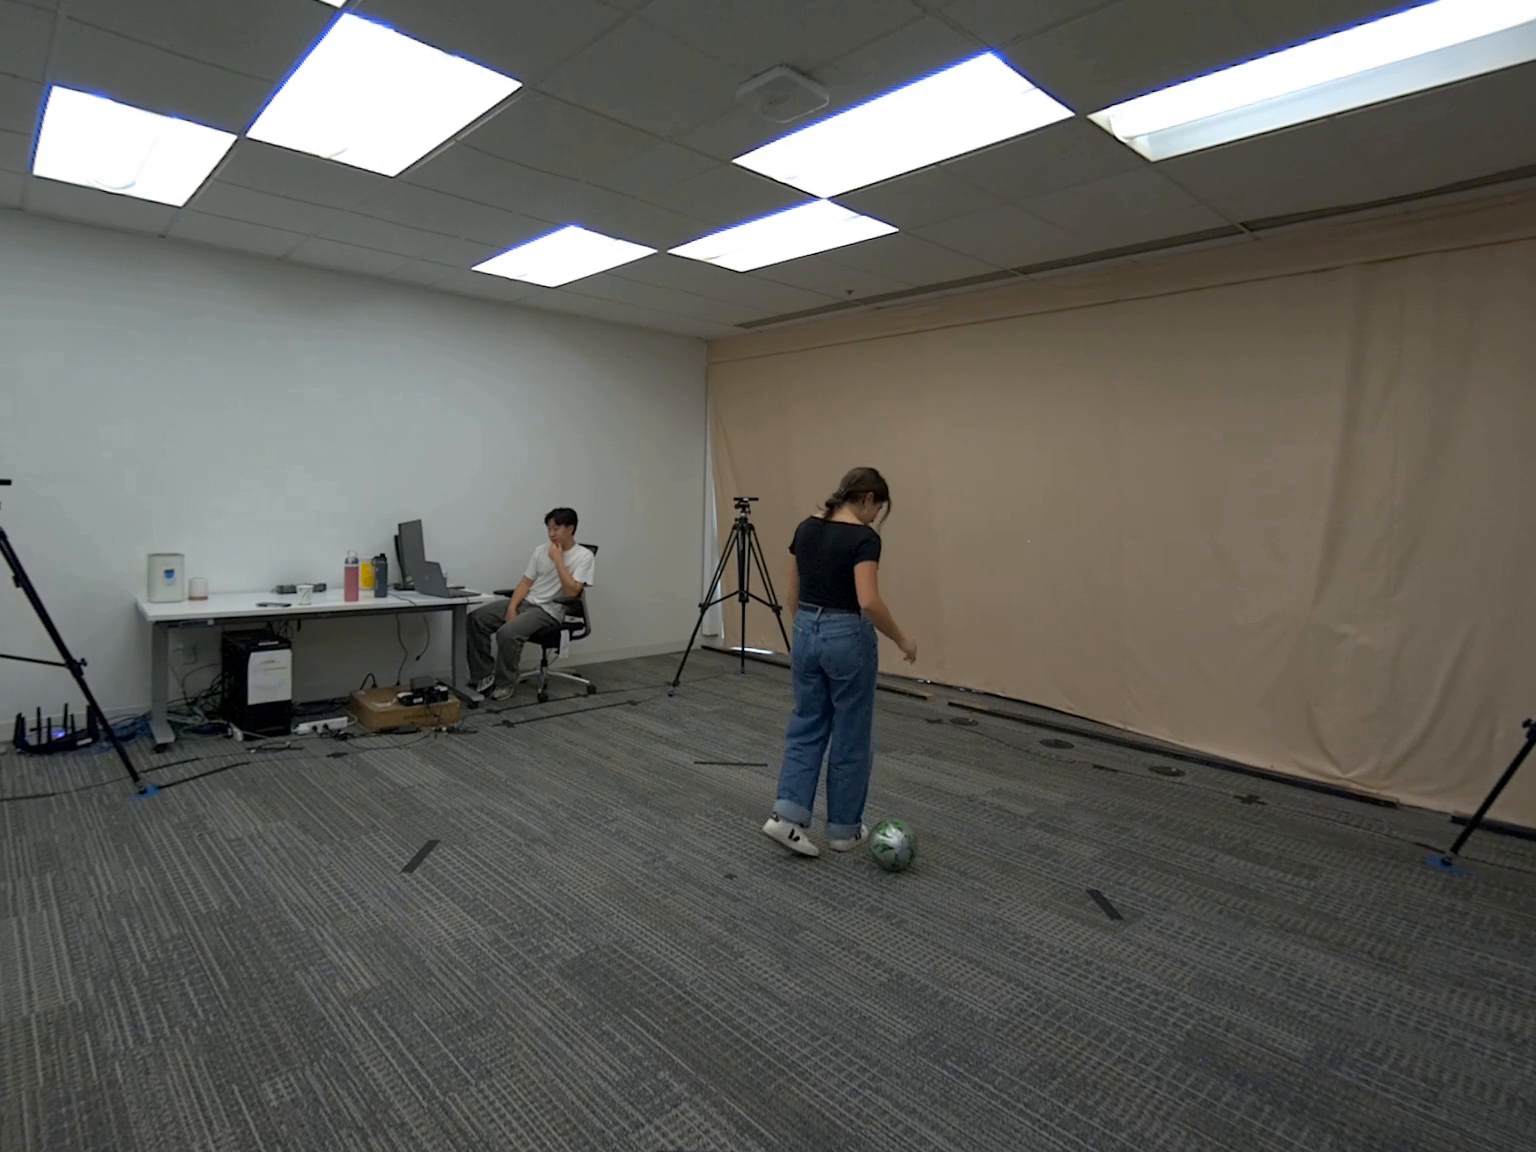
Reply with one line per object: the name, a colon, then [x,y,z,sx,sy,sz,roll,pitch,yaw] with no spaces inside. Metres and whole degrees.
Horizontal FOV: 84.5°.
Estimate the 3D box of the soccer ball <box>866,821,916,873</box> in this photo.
soccer ball: [0.465,1.025,3.198,0.187,0.187,0.188,1,4,-1]
